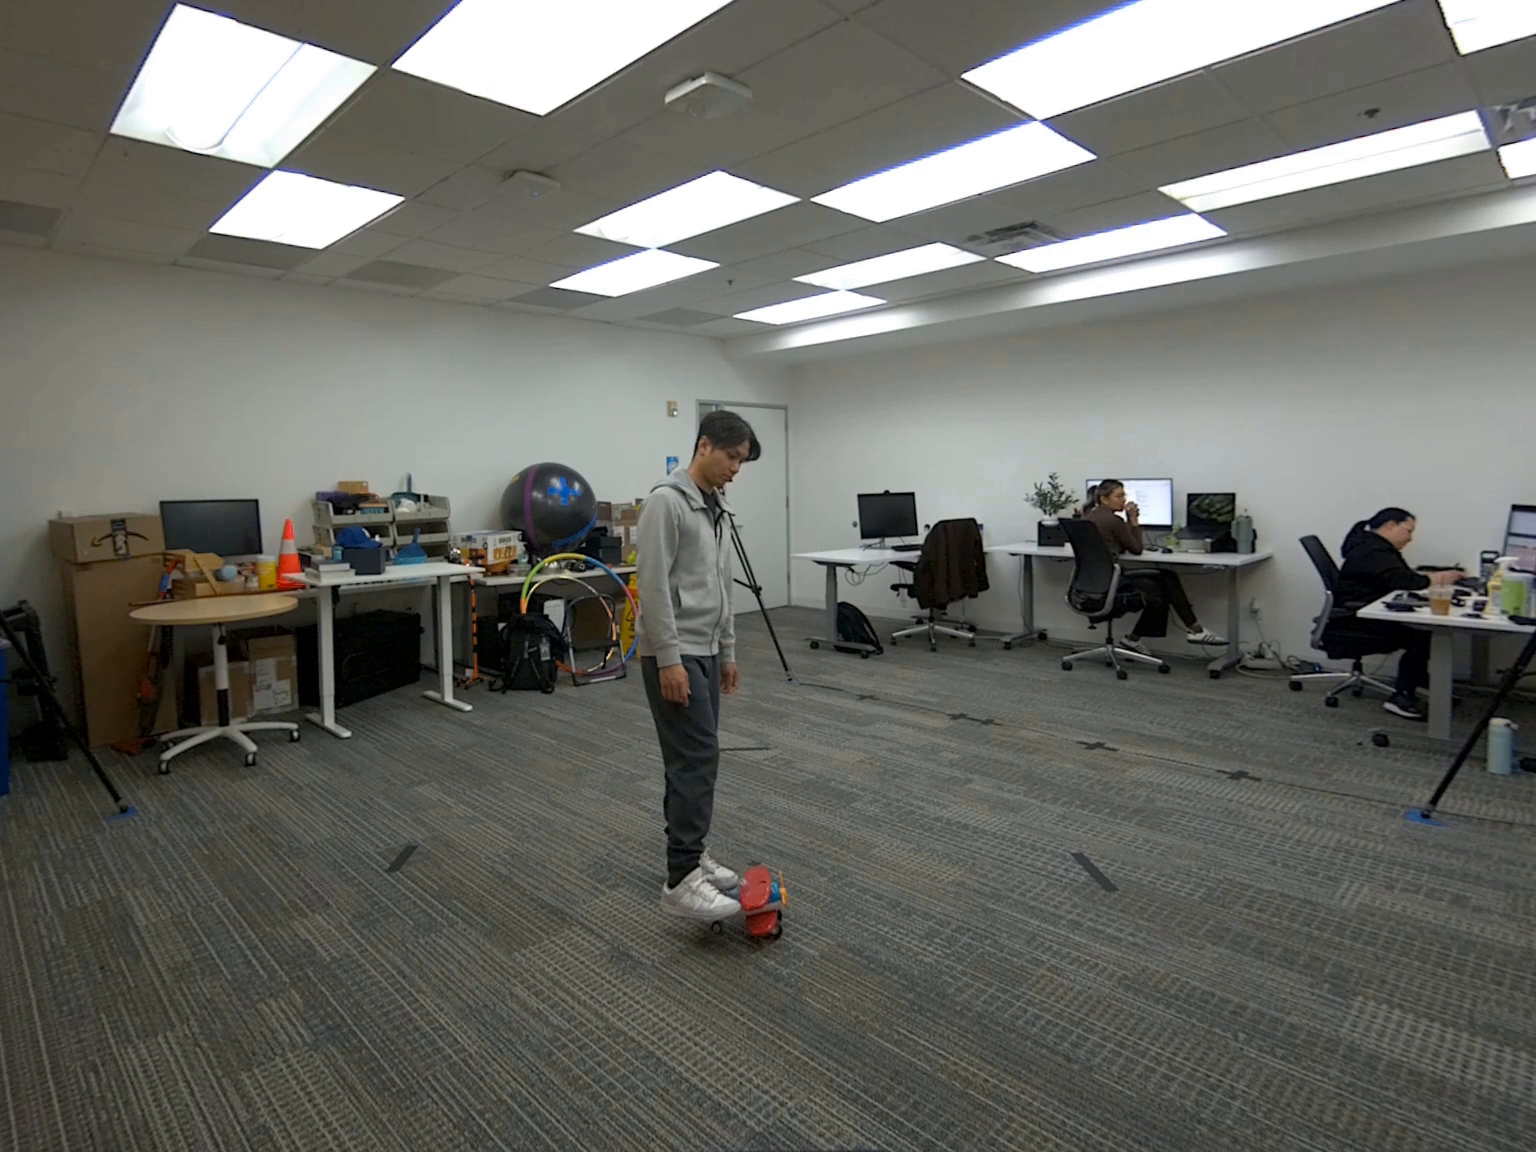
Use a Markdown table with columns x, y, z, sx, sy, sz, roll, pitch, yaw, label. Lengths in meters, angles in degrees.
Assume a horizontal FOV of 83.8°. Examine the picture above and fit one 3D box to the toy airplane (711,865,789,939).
| x | y | z | sx | sy | sz | roll | pitch | yaw | label |
| --- | --- | --- | --- | --- | --- | --- | --- | --- | --- |
| -0.064 | 1.025 | 2.630 | 0.254 | 0.156 | 0.258 | -4 | 6 | -27 | toy airplane |
